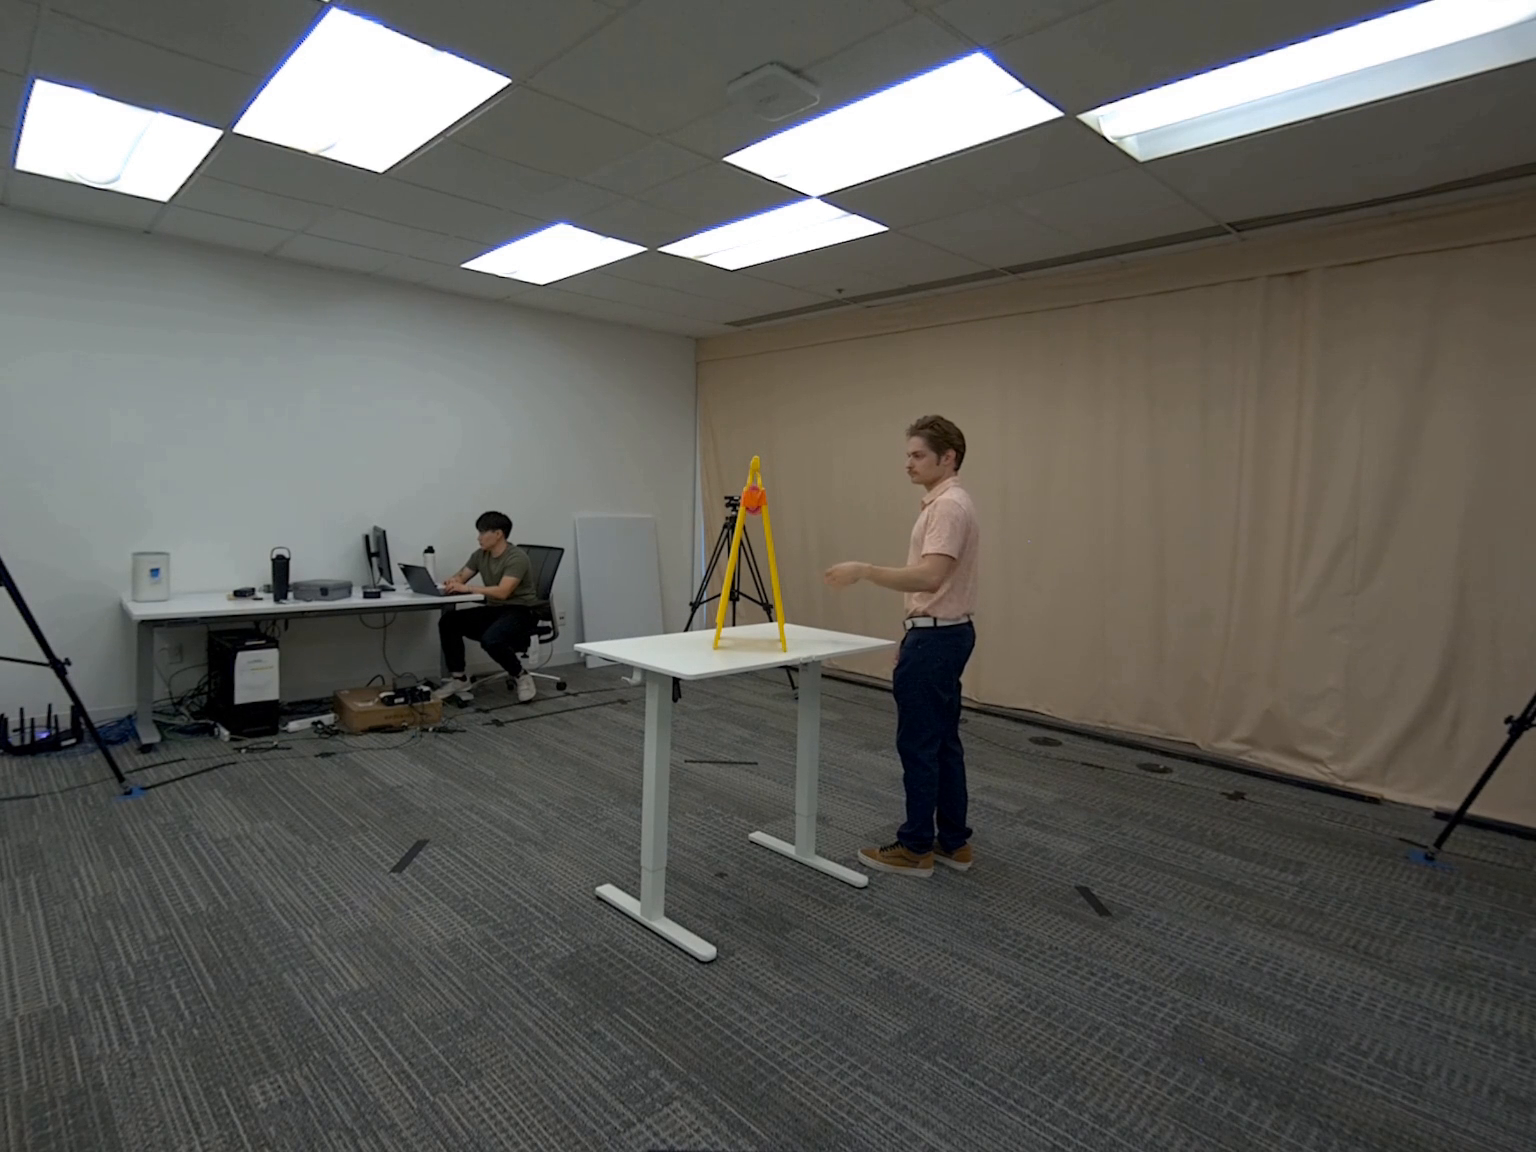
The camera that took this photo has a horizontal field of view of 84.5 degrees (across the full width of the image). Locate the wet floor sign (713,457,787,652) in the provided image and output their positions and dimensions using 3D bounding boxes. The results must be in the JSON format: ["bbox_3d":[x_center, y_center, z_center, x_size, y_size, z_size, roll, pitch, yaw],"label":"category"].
[{"bbox_3d":[-0.062,-0.084,2.916,0.290,0.645,0.283,2,3,0],"label":"wet floor sign"}]
